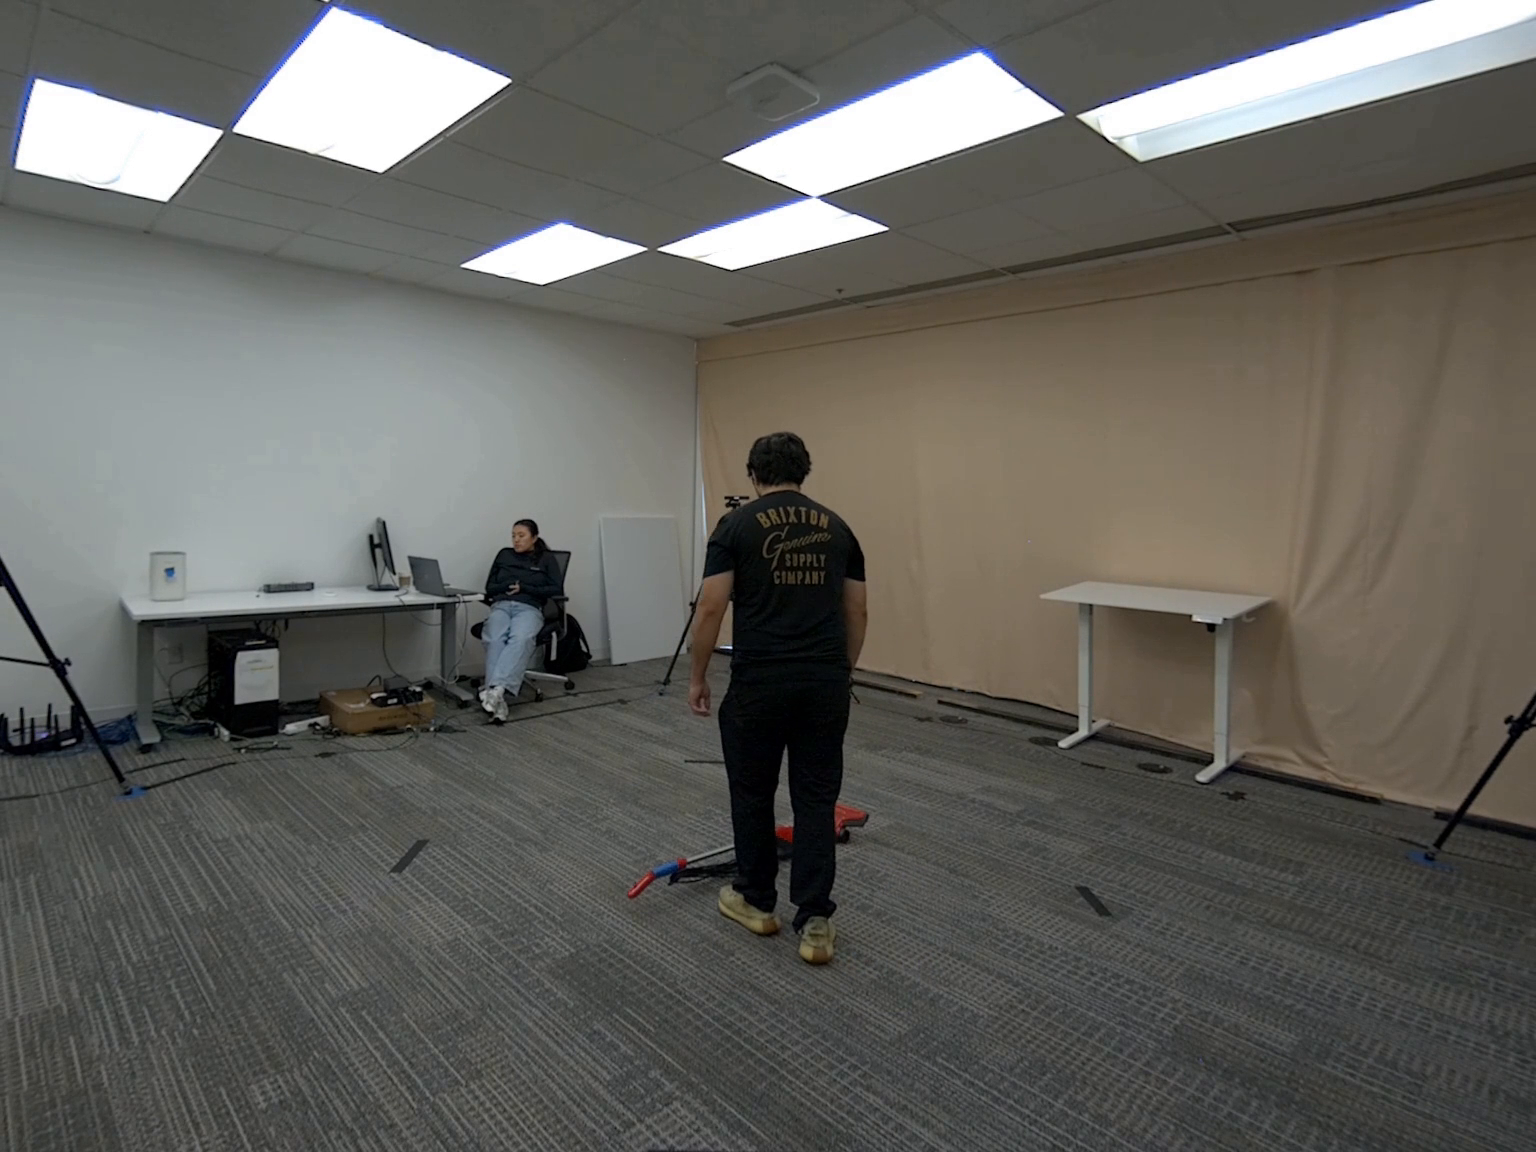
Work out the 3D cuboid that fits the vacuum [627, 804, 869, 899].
[{"bbox_3d":[-0.079,1.043,3.138,1.026,0.144,0.259,-4,4,-42],"label":"vacuum"}]
